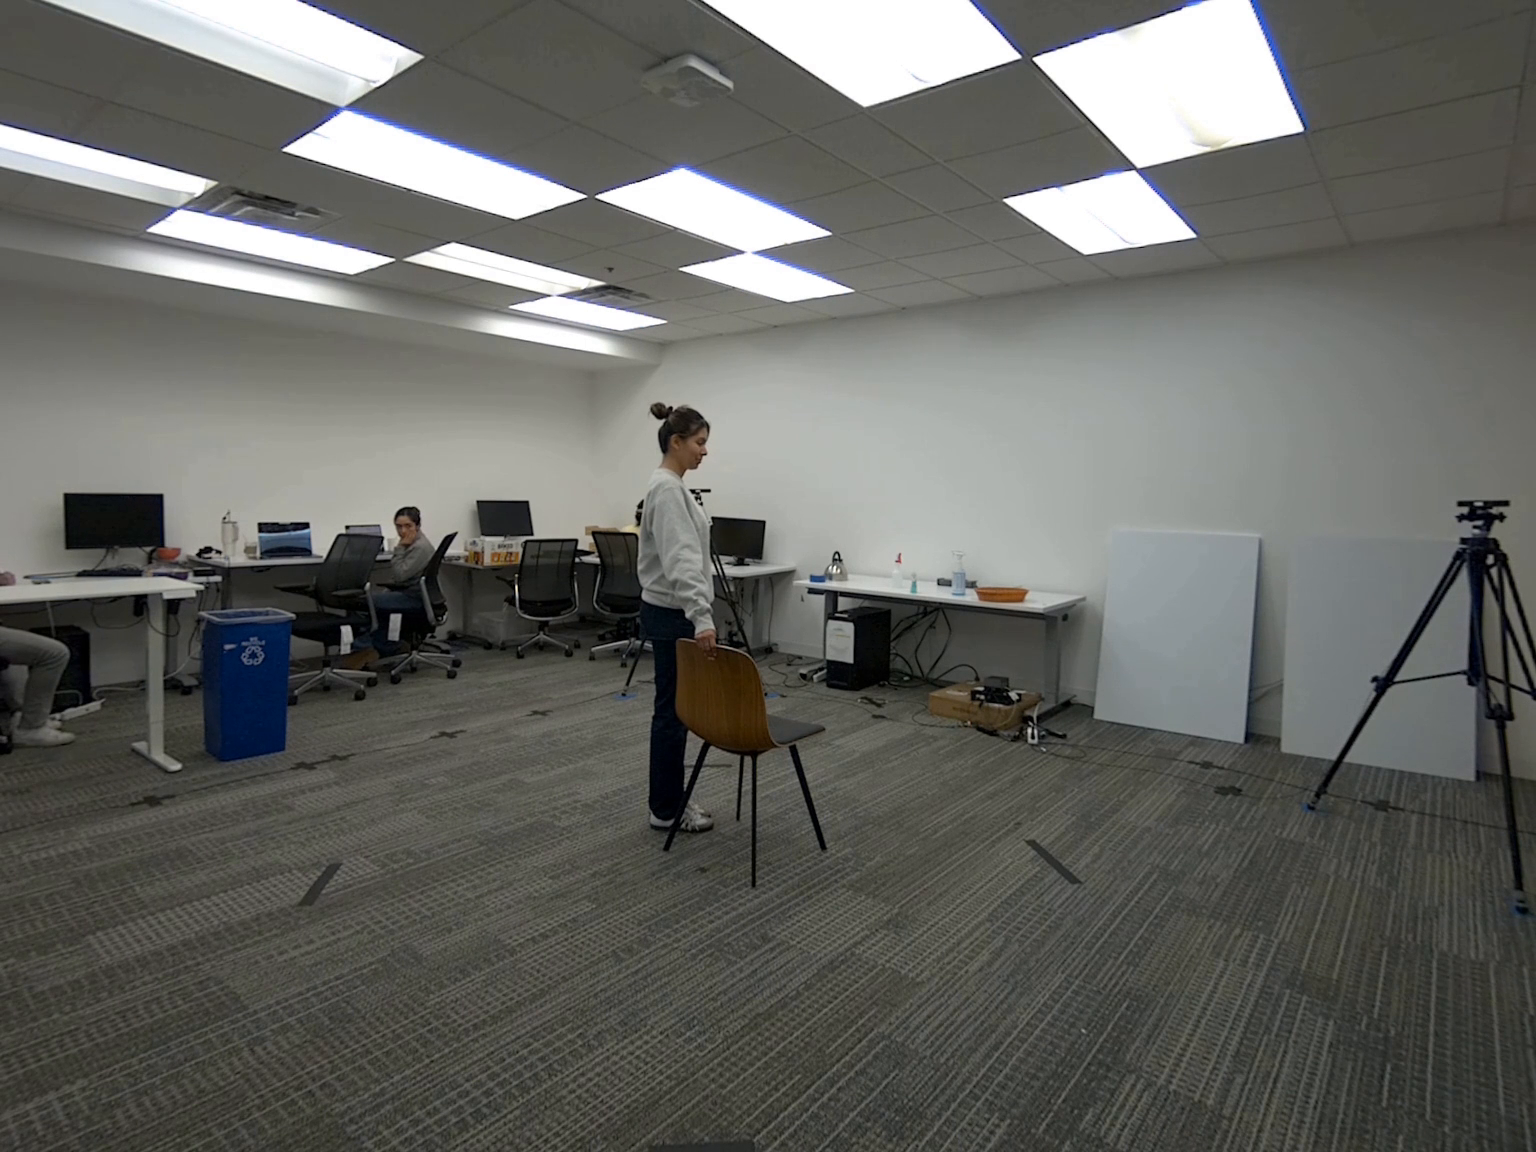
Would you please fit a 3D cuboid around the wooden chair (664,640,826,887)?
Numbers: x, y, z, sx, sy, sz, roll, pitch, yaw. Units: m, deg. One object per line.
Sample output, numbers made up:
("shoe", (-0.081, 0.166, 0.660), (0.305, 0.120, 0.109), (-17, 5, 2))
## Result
("wooden chair", (-0.079, 0.635, 3.266), (0.494, 0.872, 0.509), (3, 8, 39))
